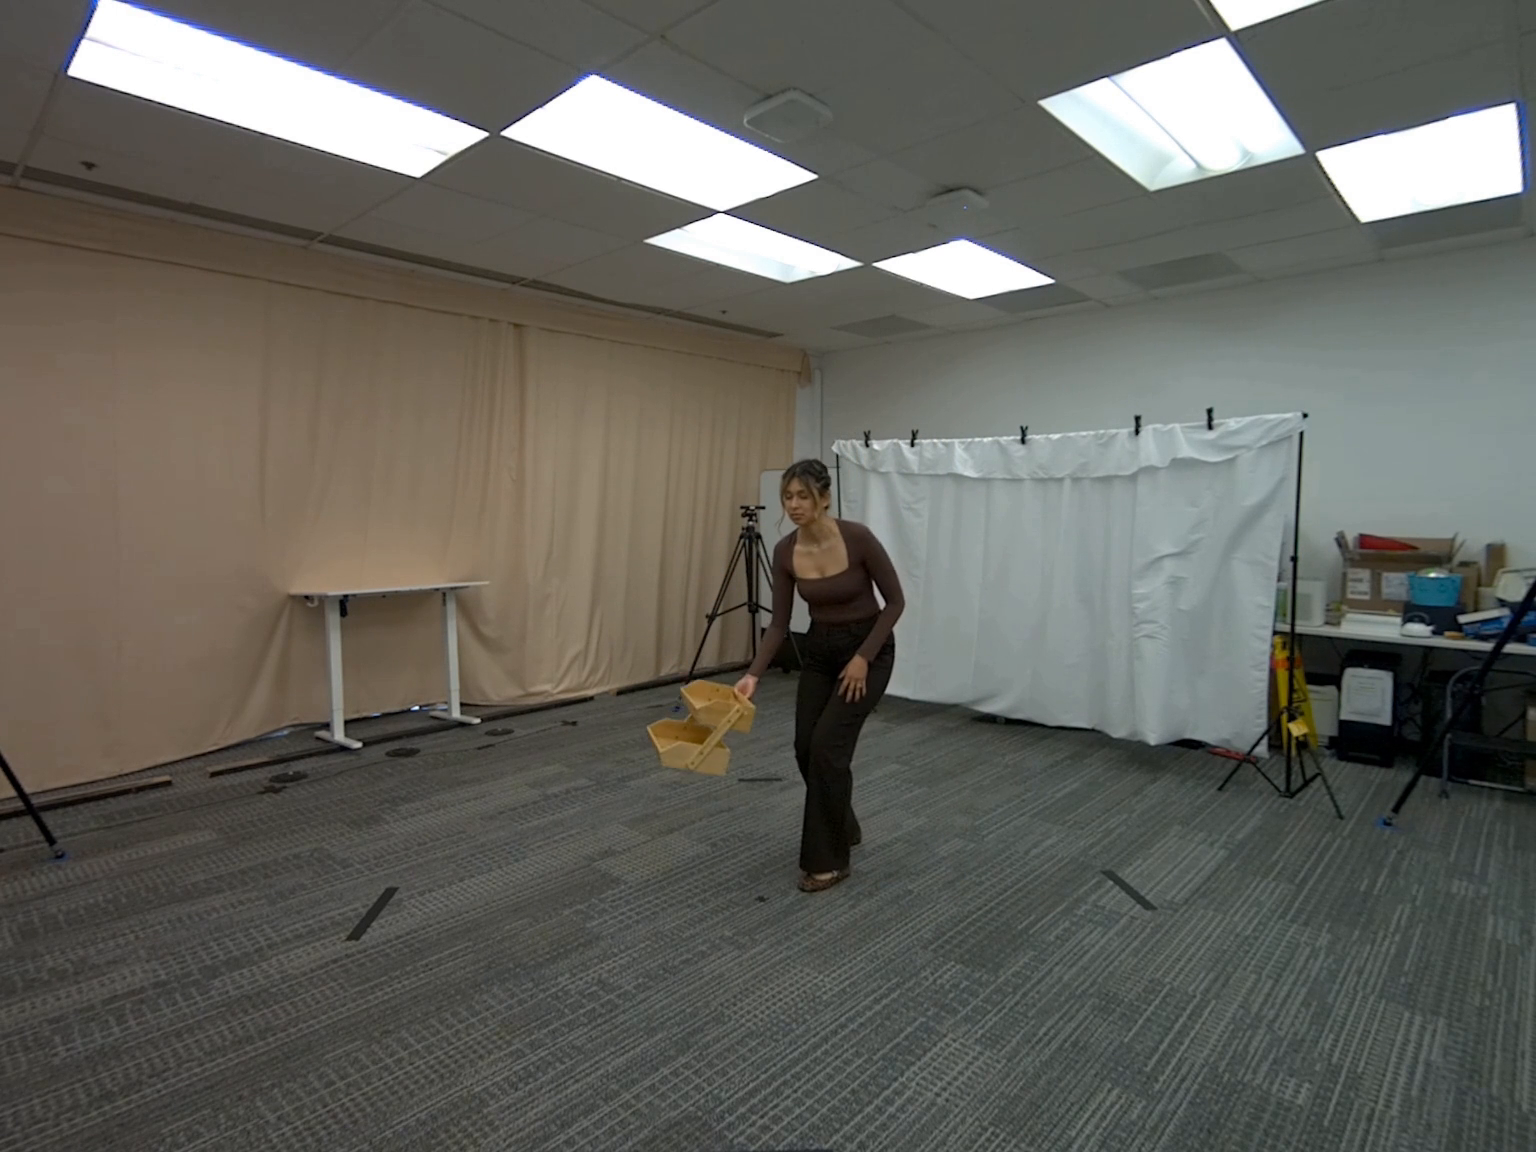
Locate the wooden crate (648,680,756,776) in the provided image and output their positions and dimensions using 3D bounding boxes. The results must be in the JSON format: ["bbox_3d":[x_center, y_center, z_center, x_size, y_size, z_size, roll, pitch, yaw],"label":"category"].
[{"bbox_3d":[-0.252,0.539,3.080,0.297,0.273,0.330,13,2,-16],"label":"wooden crate"}]
